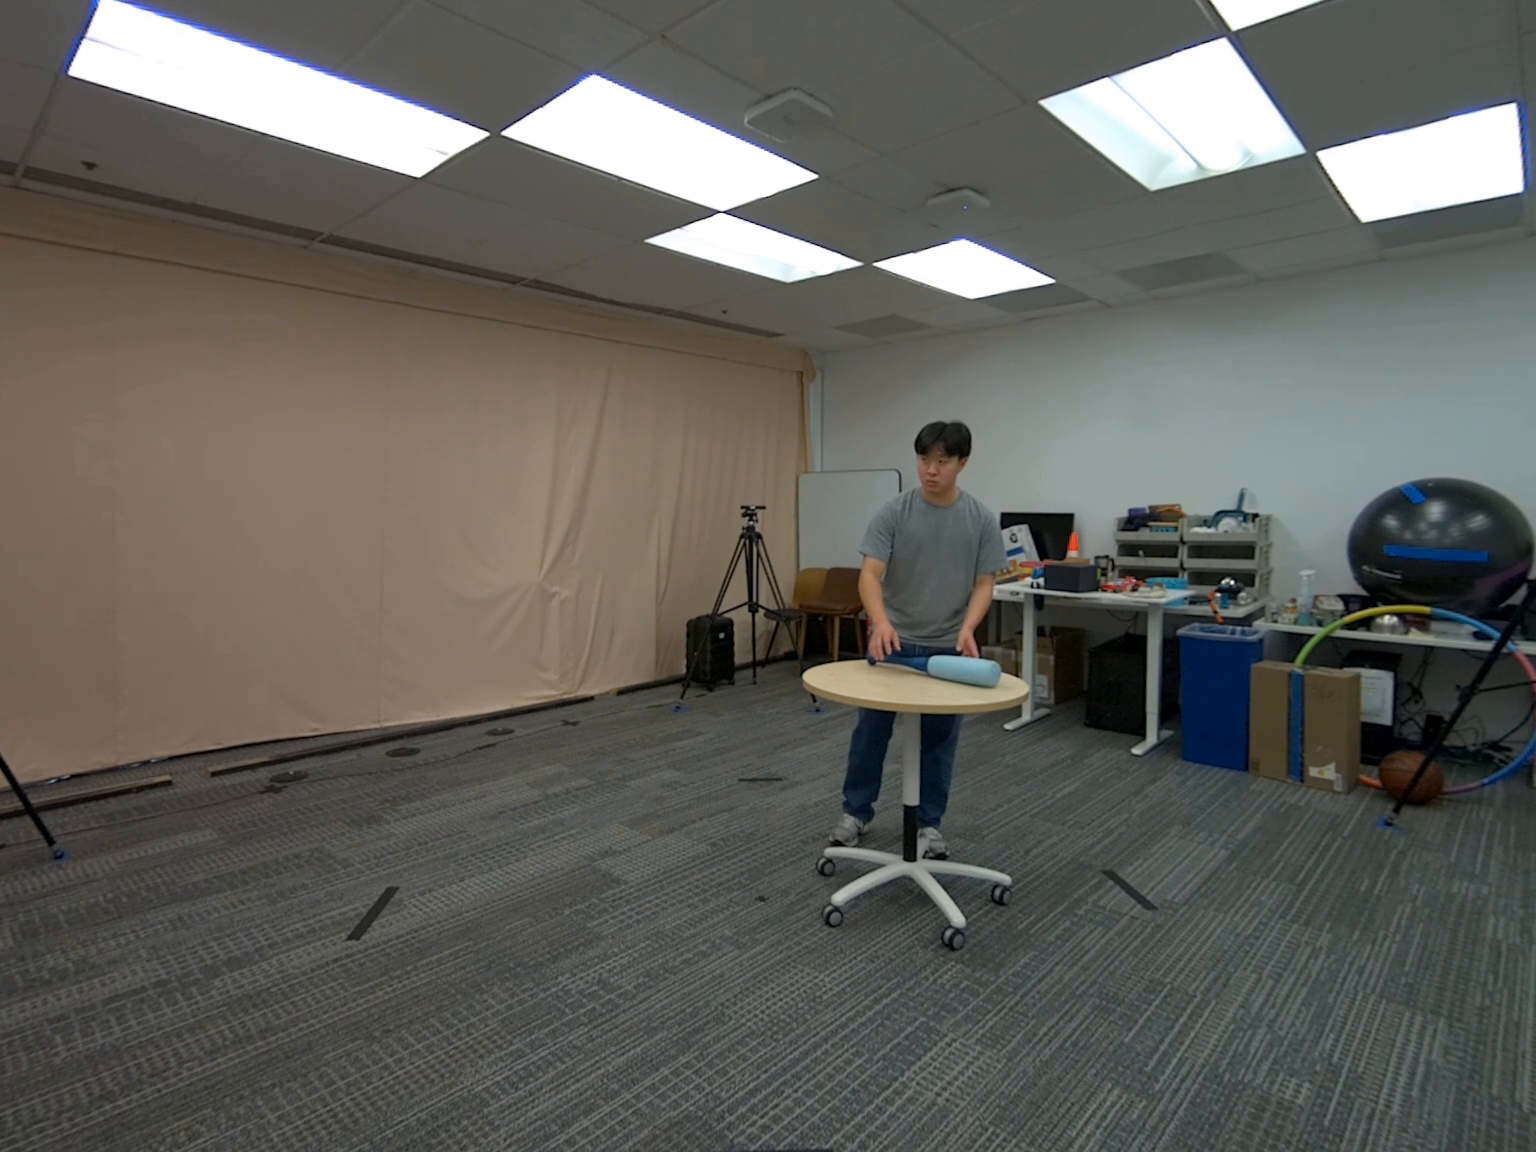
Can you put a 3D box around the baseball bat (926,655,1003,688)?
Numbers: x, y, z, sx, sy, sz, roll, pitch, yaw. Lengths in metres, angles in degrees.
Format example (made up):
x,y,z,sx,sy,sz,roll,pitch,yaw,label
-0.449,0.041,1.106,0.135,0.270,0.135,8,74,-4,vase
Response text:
x,y,z,sx,sy,sz,roll,pitch,yaw,label
0.572,0.320,3.003,0.086,0.089,0.560,-3,3,-42,baseball bat
